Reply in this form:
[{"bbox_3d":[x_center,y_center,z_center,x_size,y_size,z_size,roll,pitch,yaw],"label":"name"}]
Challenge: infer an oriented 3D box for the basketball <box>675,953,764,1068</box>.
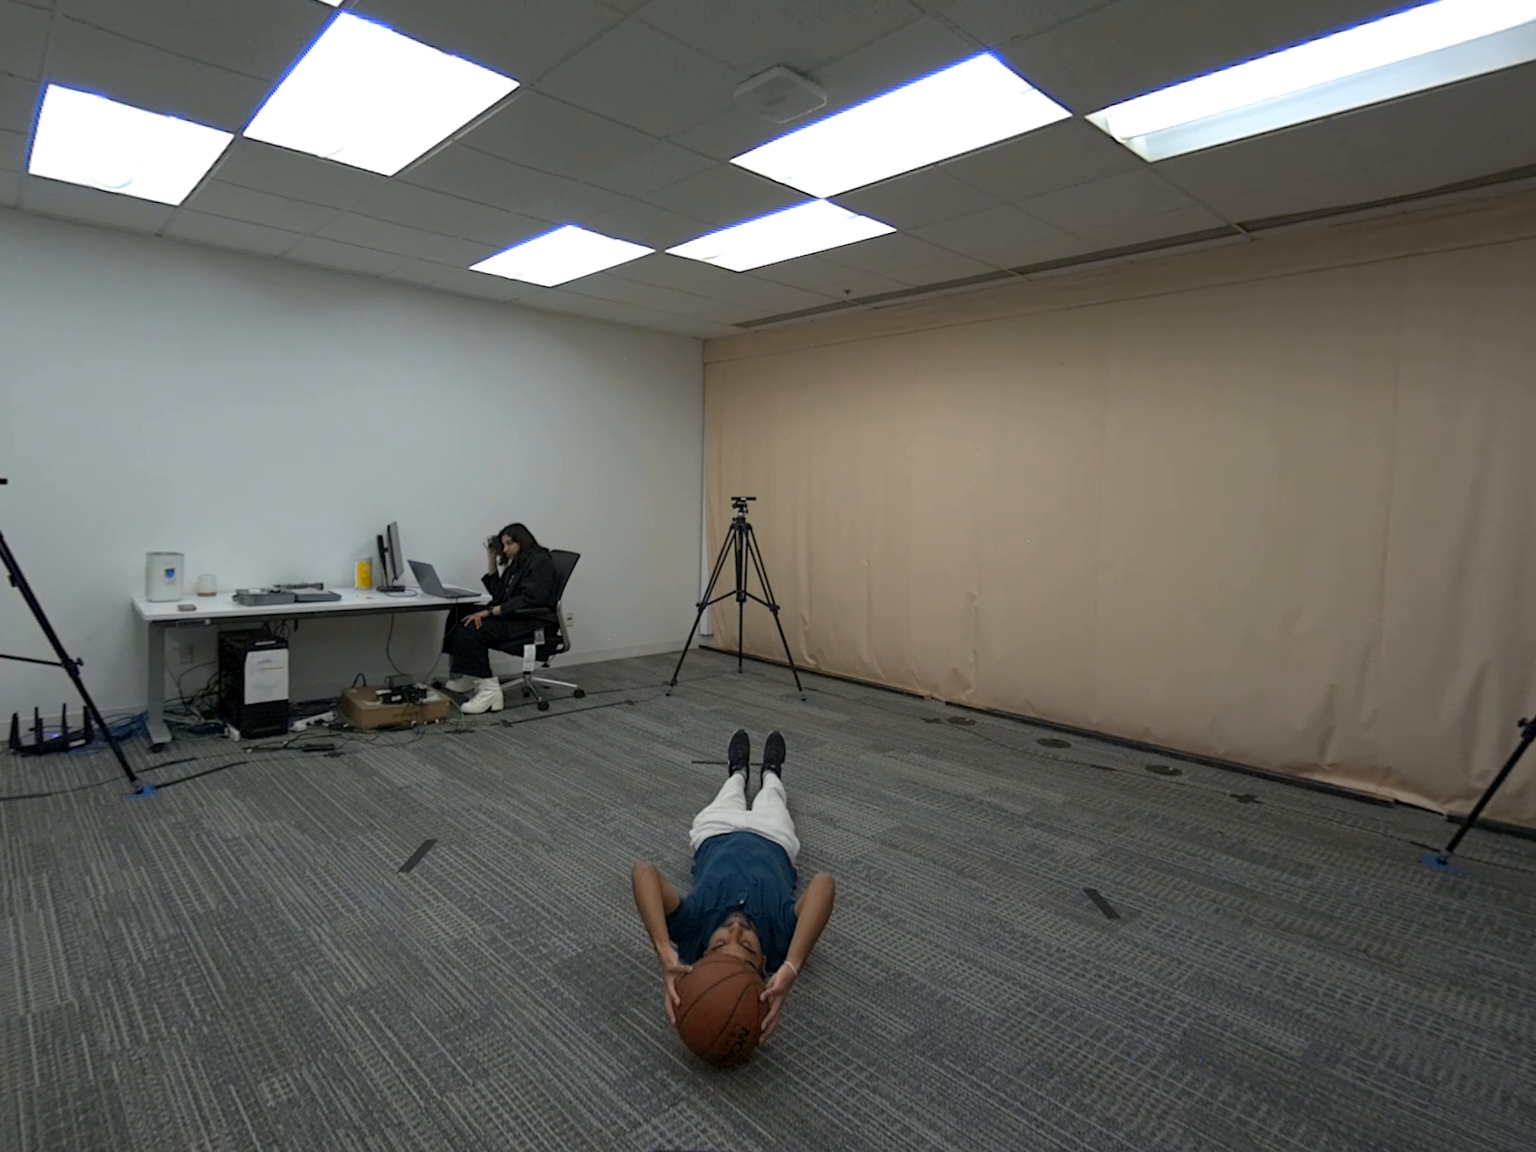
[{"bbox_3d":[-0.120,1.072,2.074,0.236,0.235,0.237,1,4,-1],"label":"basketball"}]
